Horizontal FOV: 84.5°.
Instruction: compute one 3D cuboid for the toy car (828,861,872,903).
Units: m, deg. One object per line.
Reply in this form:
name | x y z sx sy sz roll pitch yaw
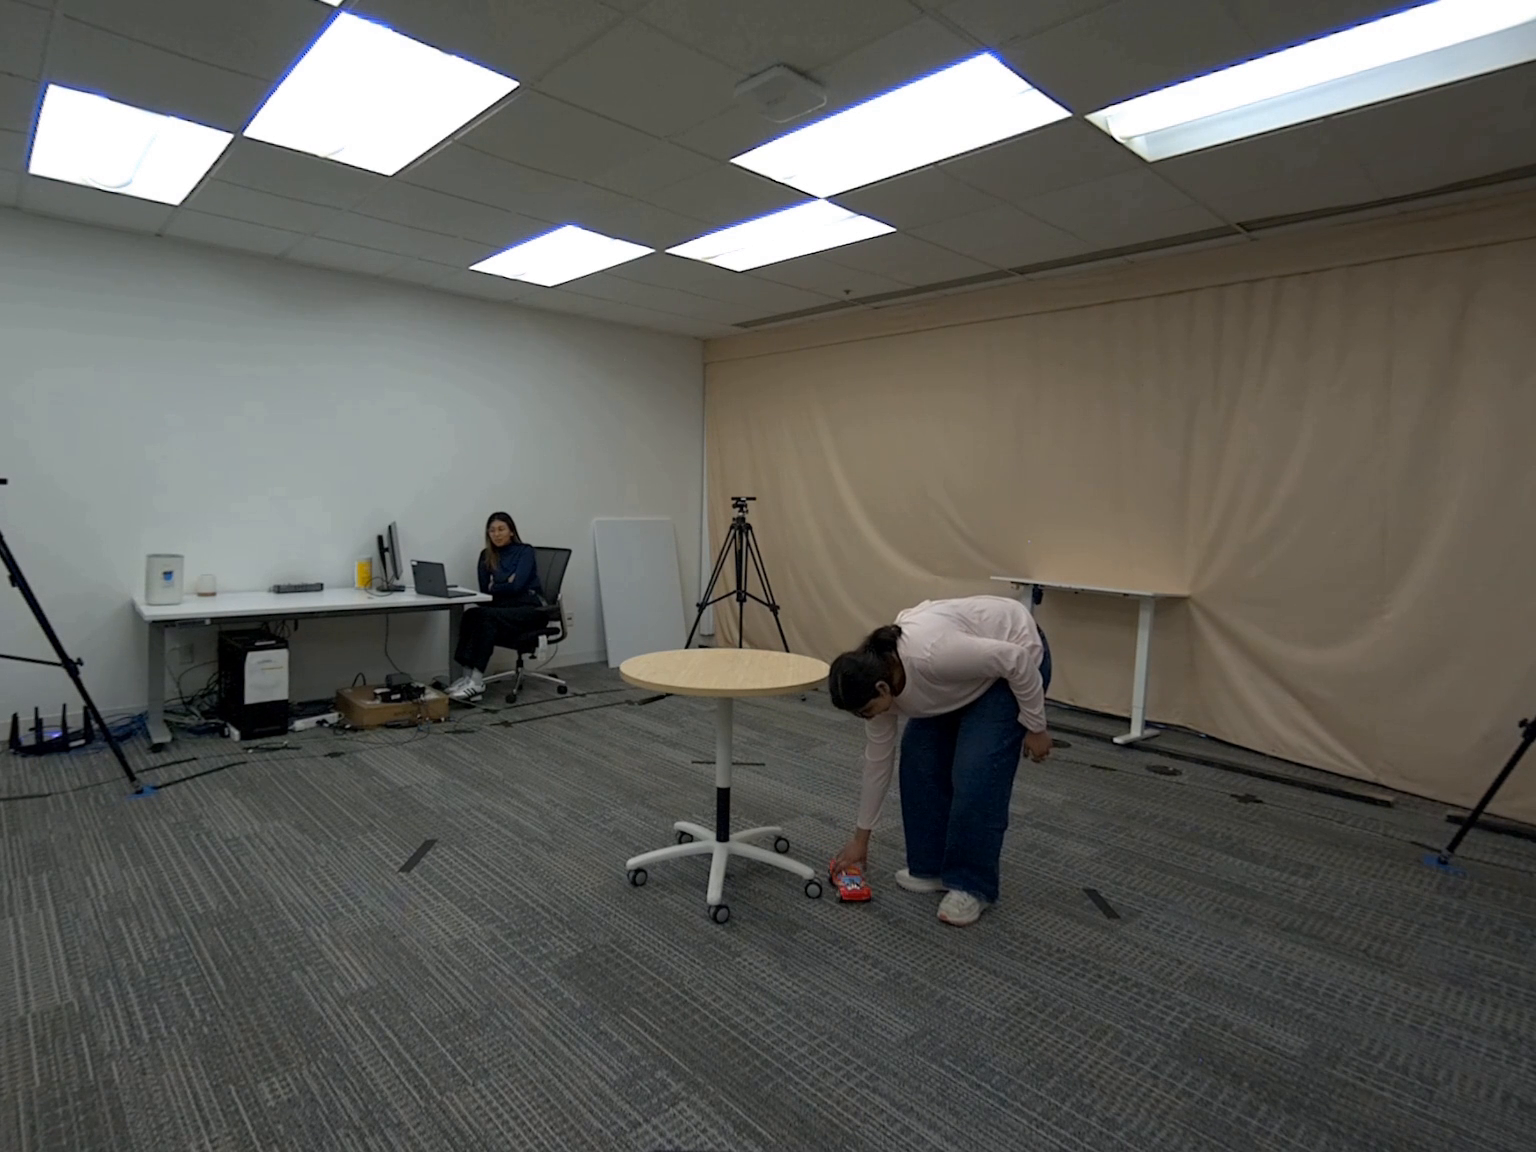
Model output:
toy car | 0.271 1.079 3.027 0.129 0.082 0.259 3 17 -9
